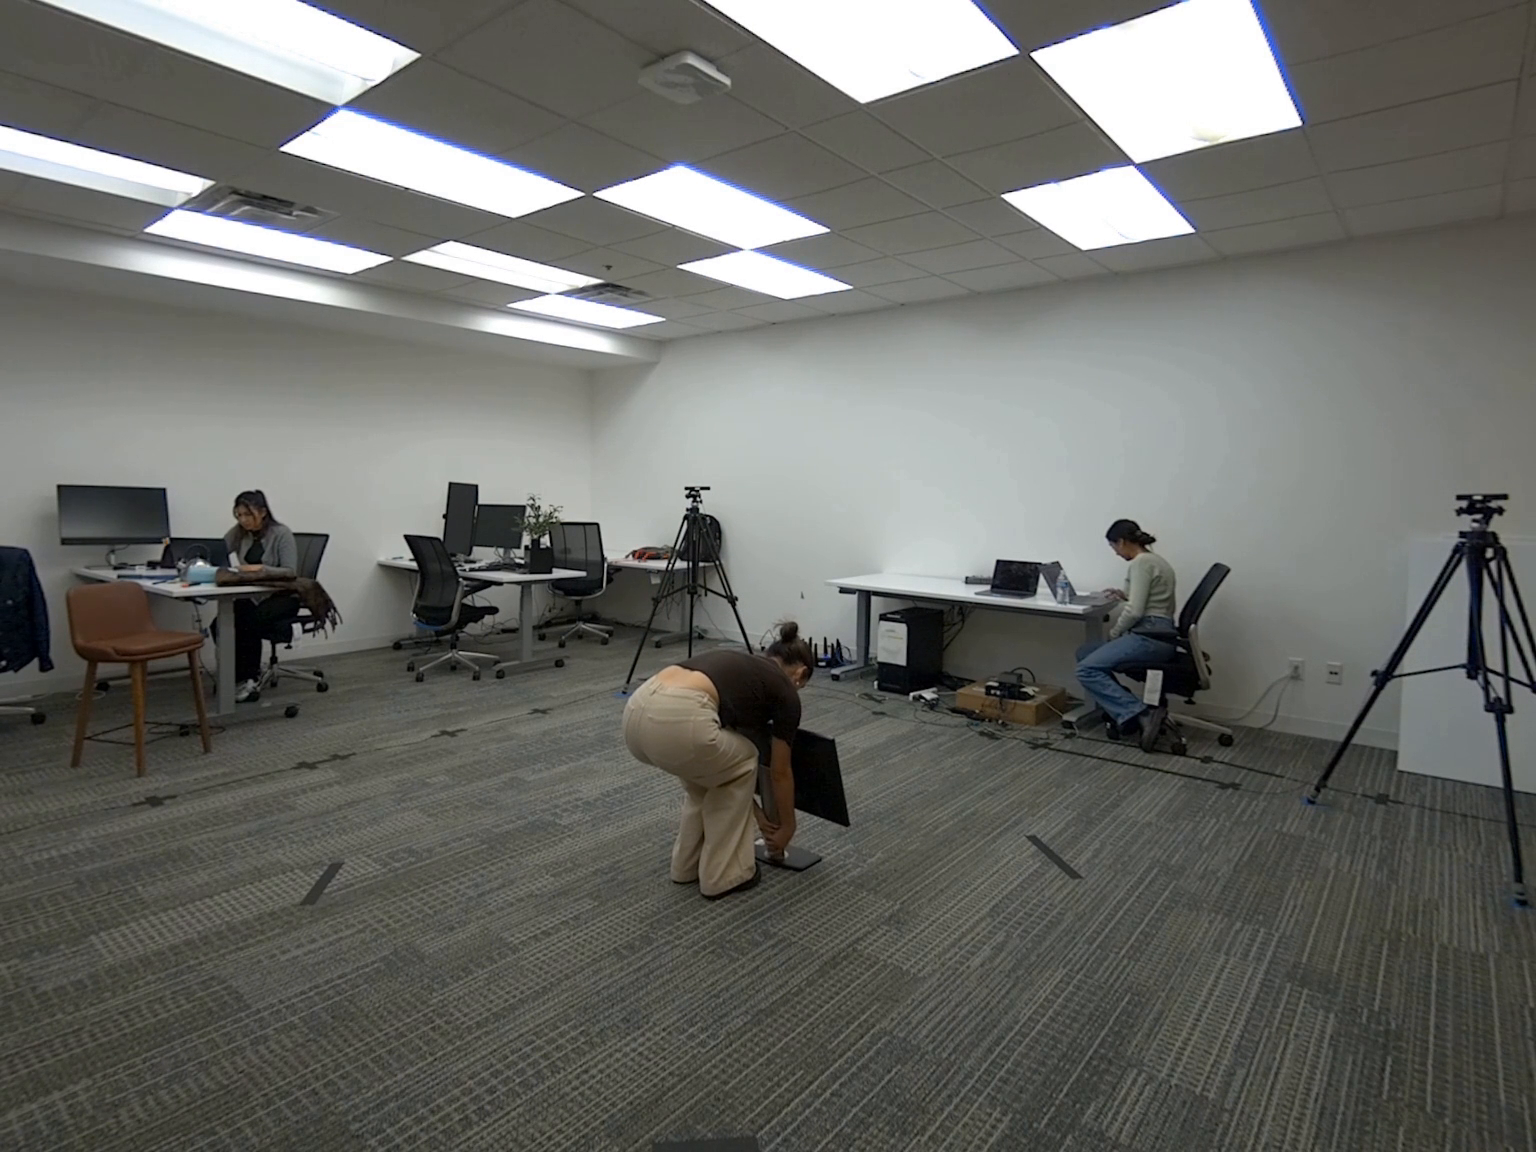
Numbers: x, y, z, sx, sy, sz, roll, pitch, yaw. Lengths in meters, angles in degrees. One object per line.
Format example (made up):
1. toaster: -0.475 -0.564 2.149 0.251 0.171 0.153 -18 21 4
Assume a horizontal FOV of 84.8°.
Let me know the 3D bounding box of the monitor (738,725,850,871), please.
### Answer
1. monitor: 0.047 0.812 3.199 0.557 0.521 0.181 4 5 44
